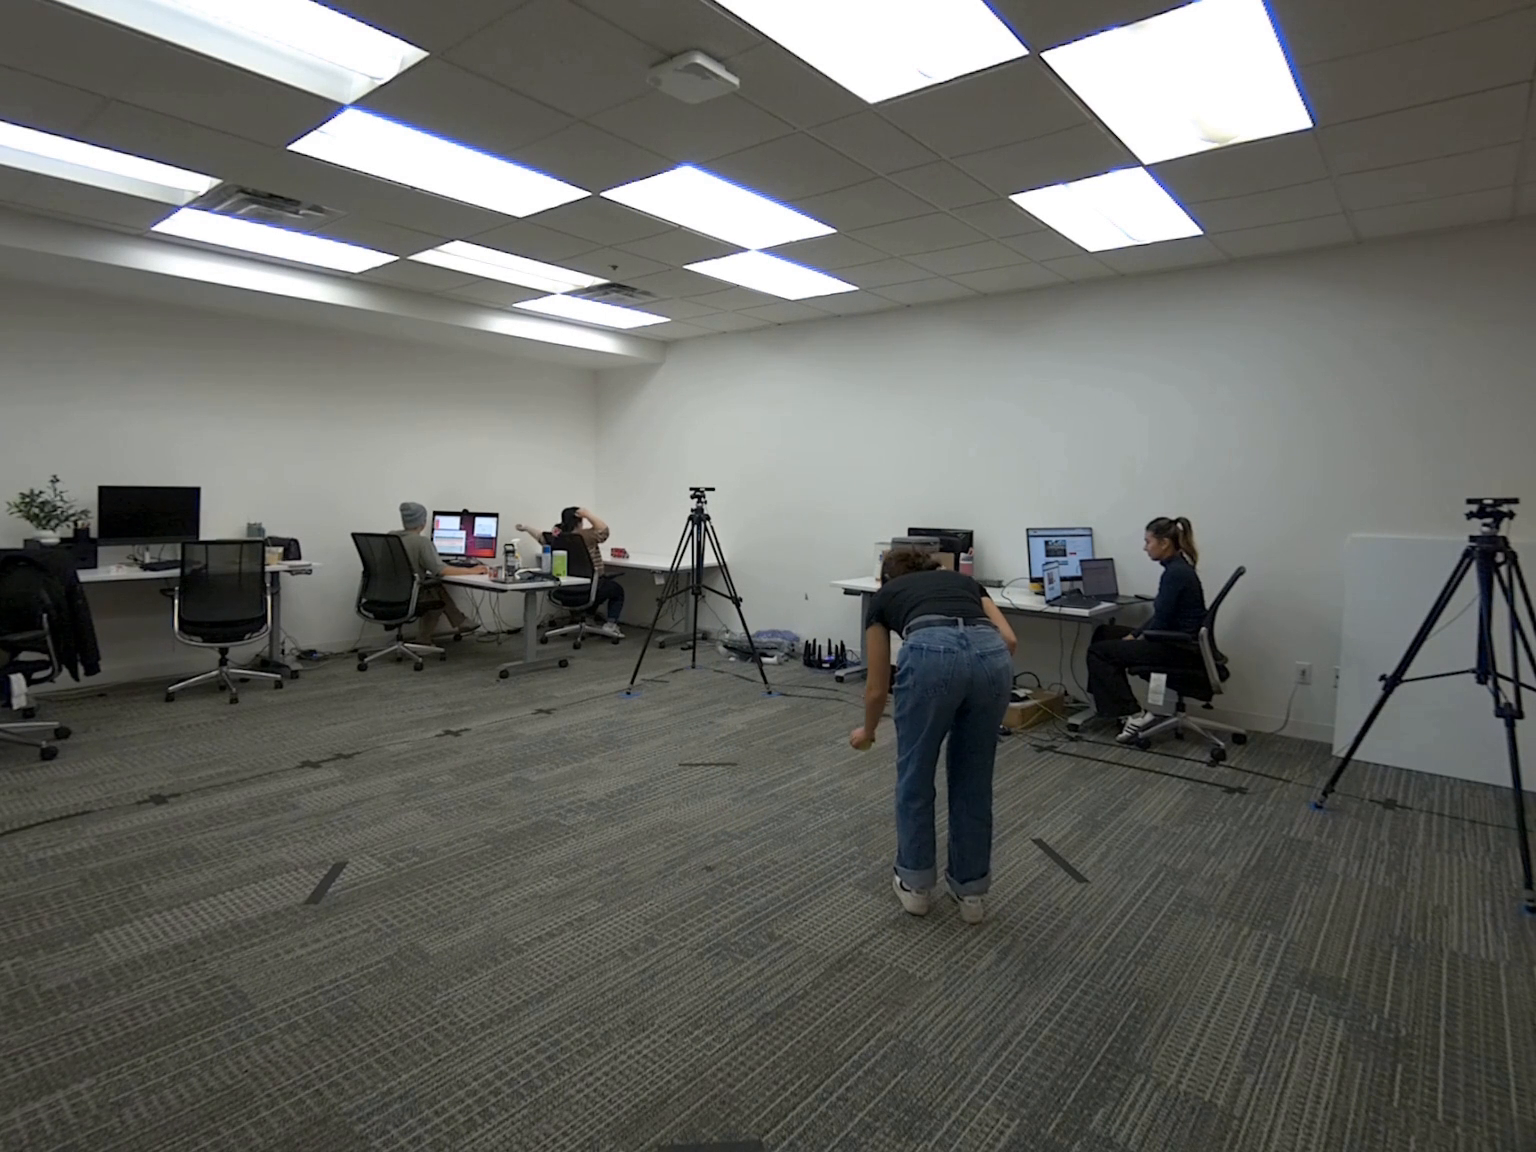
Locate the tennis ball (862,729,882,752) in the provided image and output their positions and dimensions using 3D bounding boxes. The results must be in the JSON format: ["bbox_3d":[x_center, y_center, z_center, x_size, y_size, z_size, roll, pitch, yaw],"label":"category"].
[{"bbox_3d":[0.387,0.619,3.180,0.066,0.066,0.067,1,4,-2],"label":"tennis ball"}]
